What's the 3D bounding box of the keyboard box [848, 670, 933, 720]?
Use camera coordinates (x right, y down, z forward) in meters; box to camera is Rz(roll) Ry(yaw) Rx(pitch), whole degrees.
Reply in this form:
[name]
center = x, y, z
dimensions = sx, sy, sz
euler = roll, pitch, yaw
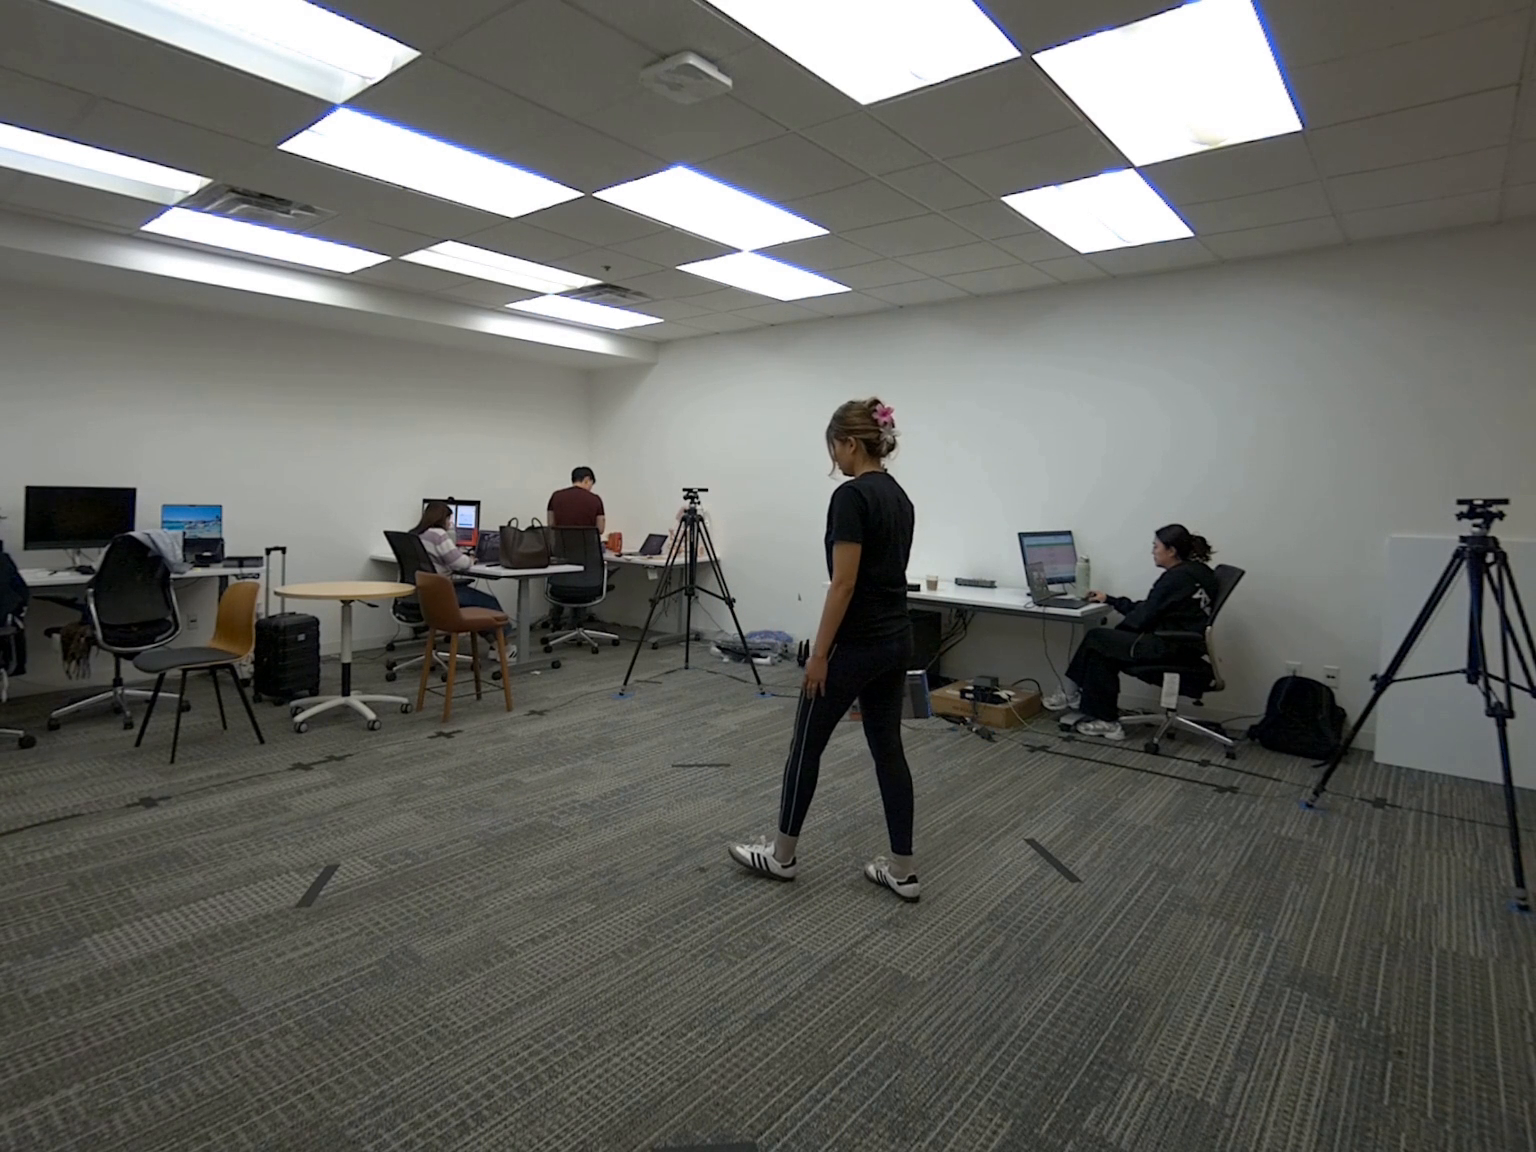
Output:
[keyboard box]
center = 0.387, 0.464, 3.276
dimensions = 0.446, 0.175, 0.058
euler = -7, 2, 25
